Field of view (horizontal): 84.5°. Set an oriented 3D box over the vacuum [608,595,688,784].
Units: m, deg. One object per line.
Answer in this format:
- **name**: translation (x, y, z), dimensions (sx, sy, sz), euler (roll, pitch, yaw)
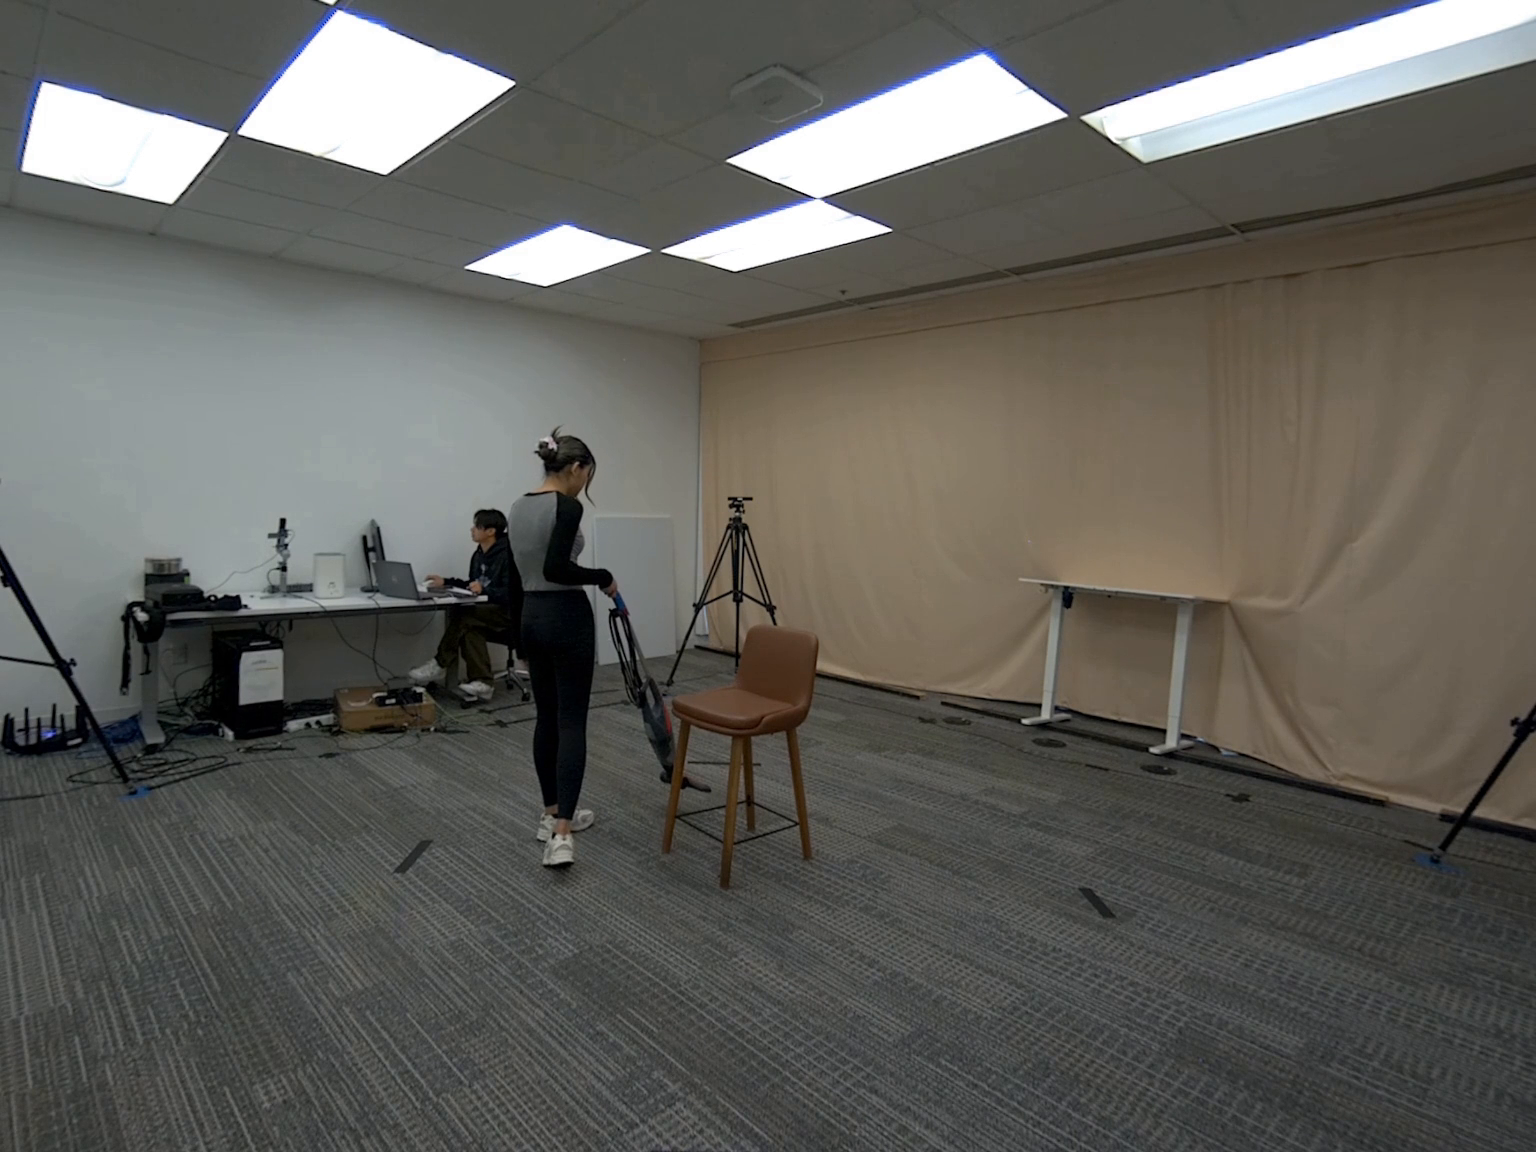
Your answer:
- **vacuum**: translation (-0.531, 0.454, 3.530), dimensions (0.259, 1.030, 0.143), euler (5, 29, 42)
